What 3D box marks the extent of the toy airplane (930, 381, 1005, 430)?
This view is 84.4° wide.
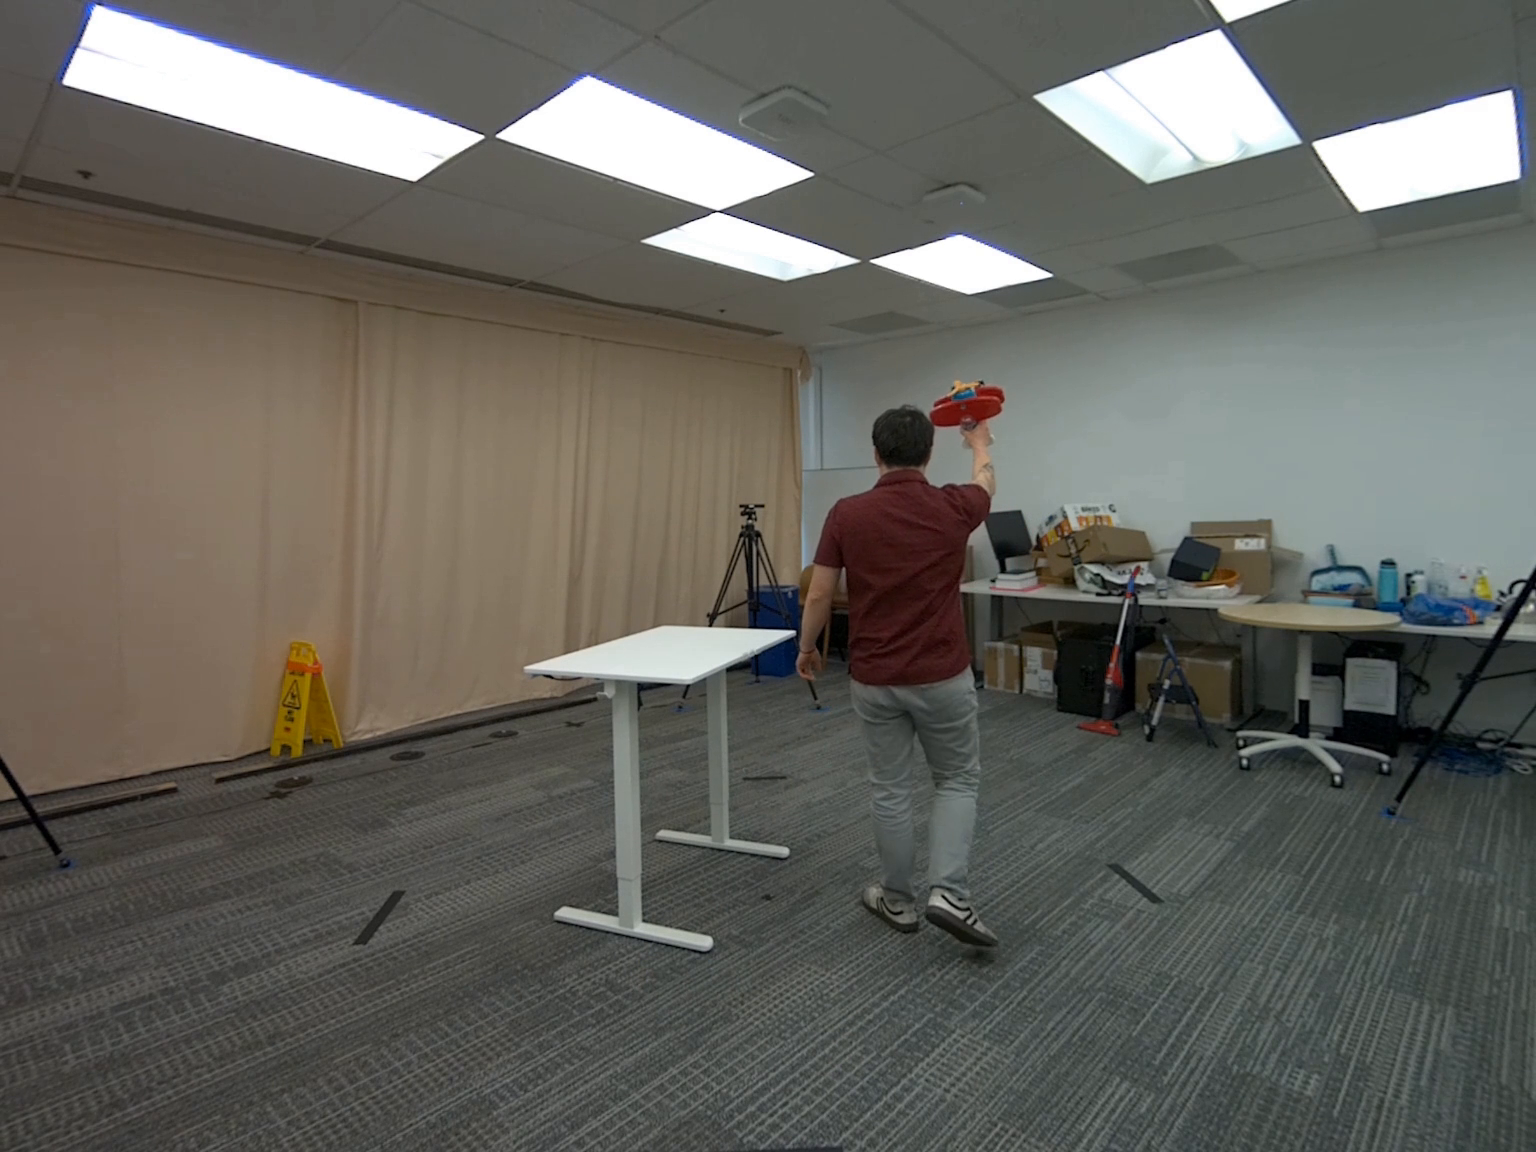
[{"bbox_3d":[0.770,-0.593,3.087,0.254,0.260,0.154,-42,-3,35],"label":"toy airplane"}]
